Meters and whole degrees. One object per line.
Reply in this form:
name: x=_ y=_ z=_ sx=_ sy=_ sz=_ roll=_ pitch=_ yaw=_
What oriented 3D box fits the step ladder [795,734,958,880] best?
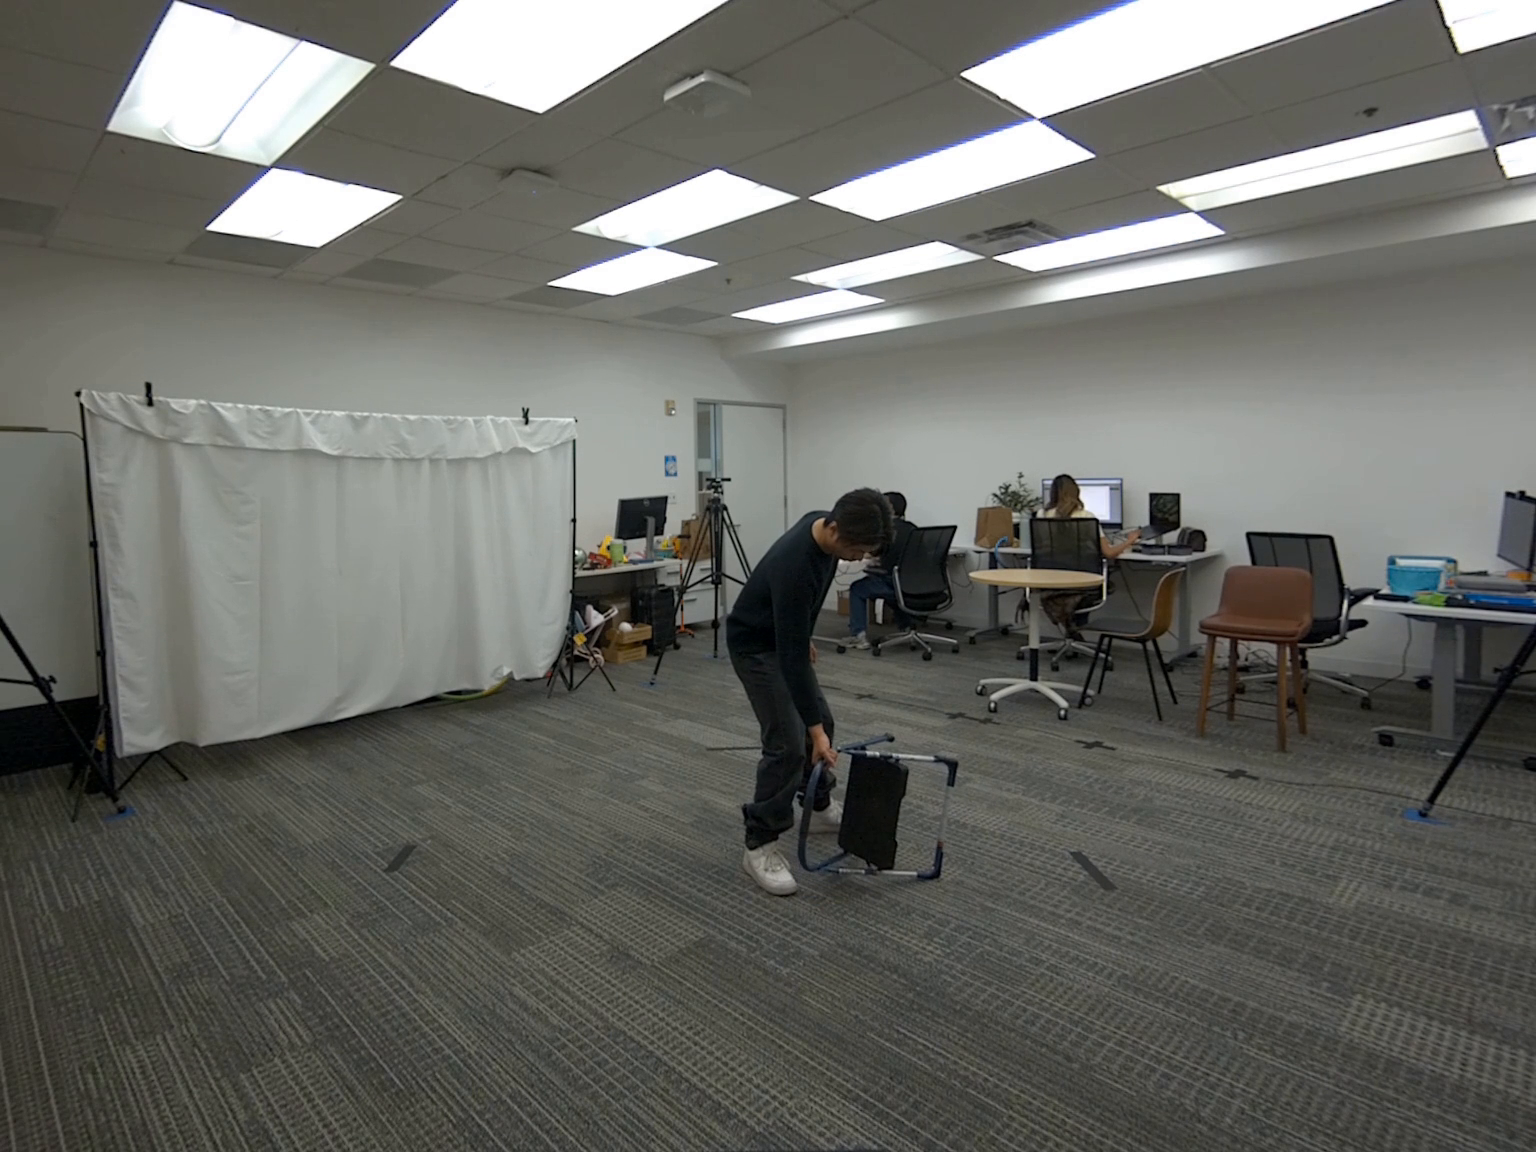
step ladder: x=0.306 y=0.791 z=2.930 sx=0.587 sy=0.431 sz=0.360 roll=9 pitch=-1 yaw=-37
